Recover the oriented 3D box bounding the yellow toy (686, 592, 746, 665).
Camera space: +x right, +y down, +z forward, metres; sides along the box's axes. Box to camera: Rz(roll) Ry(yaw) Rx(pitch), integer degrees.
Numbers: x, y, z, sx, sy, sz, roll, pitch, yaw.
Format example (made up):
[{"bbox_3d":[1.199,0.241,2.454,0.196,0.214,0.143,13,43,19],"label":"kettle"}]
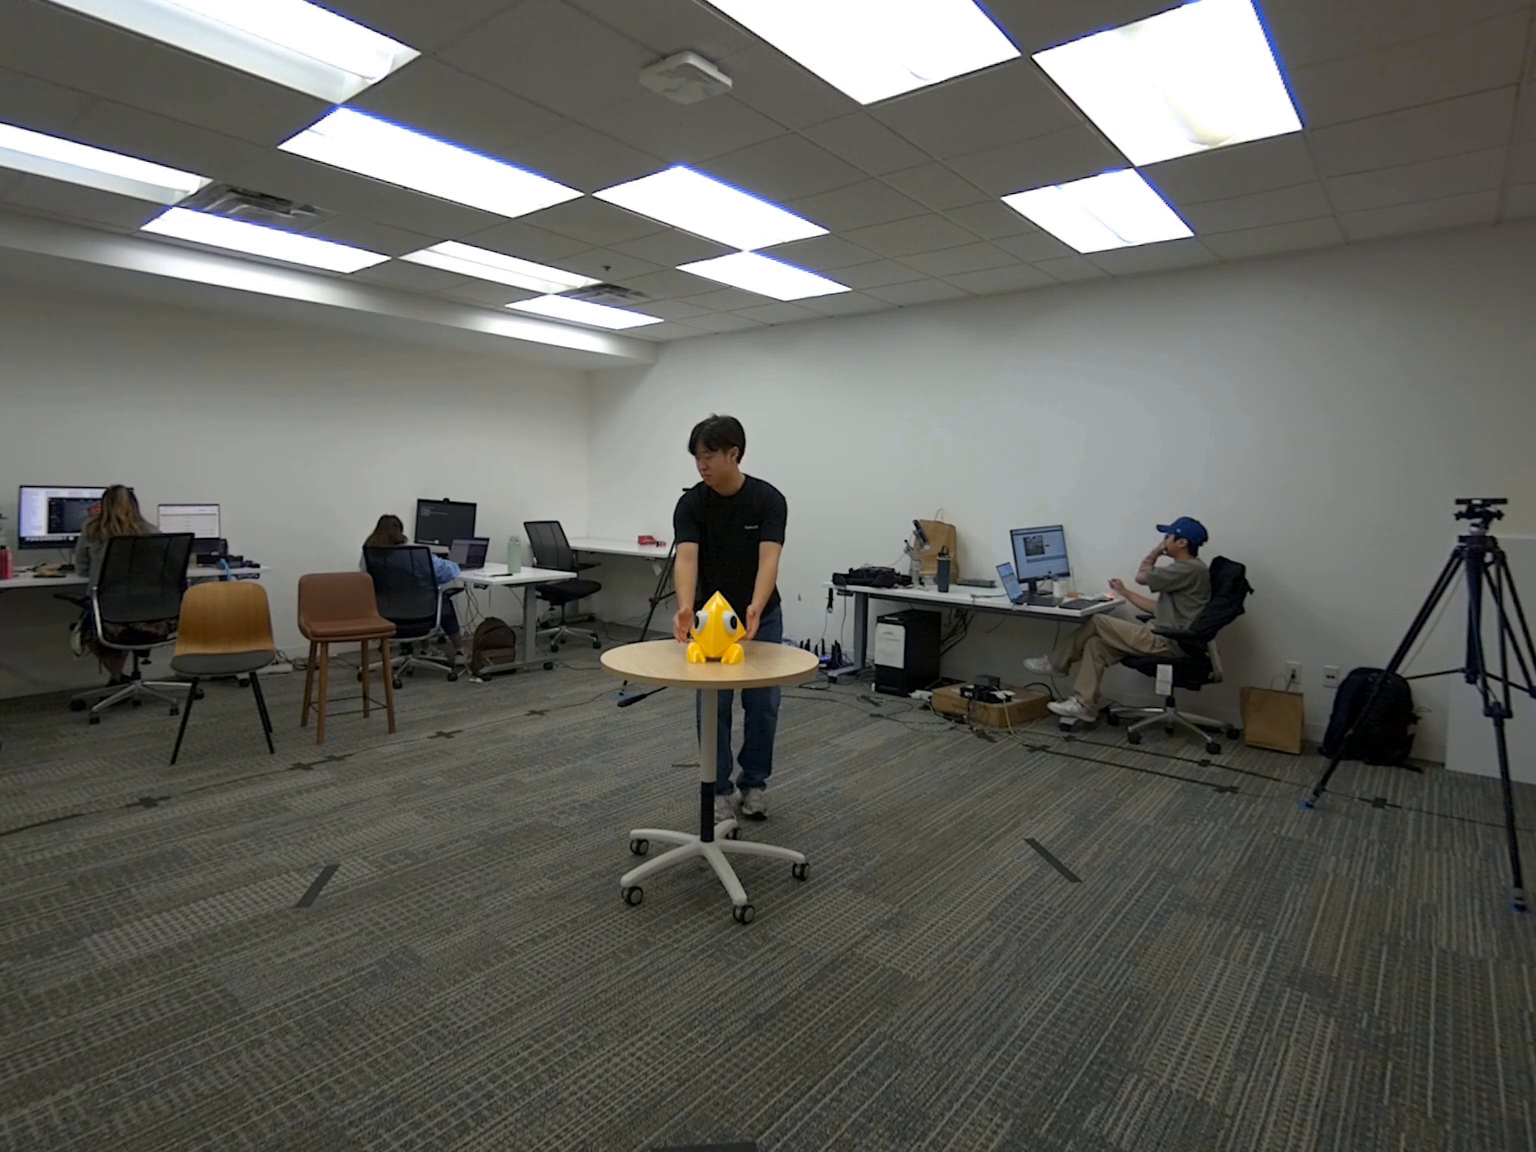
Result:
[{"bbox_3d":[-0.194,0.170,2.965,0.206,0.230,0.193,1,5,3],"label":"yellow toy"}]
